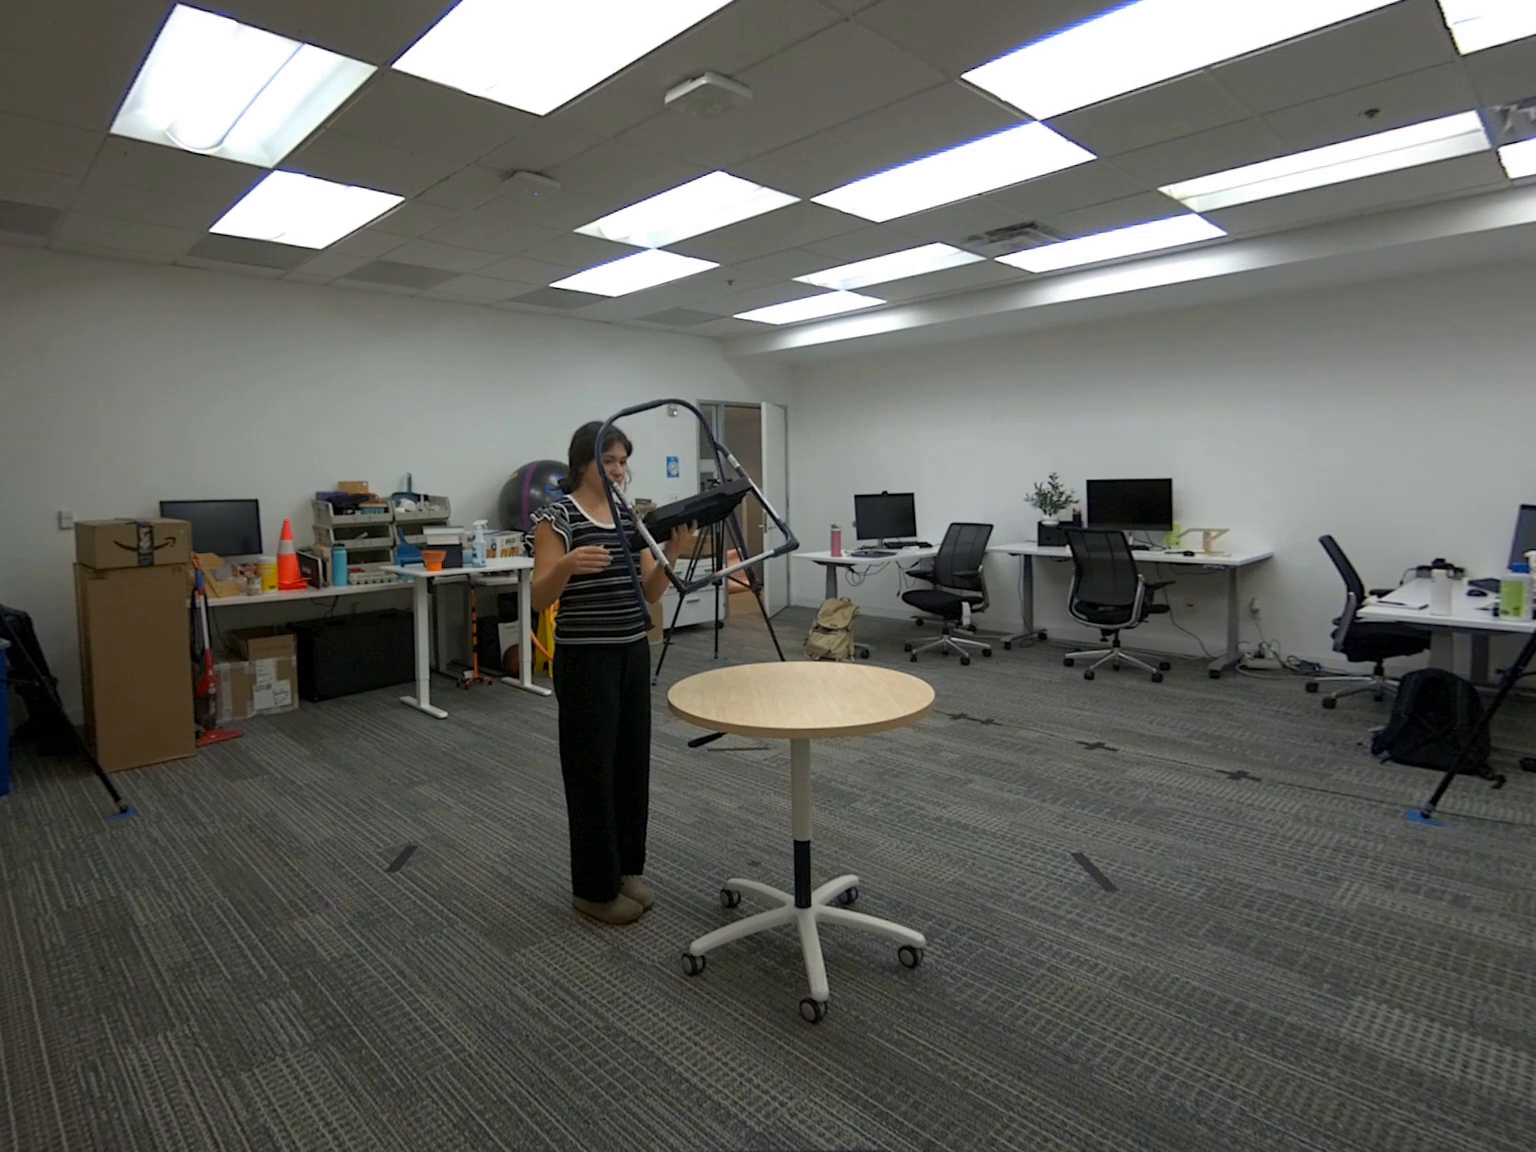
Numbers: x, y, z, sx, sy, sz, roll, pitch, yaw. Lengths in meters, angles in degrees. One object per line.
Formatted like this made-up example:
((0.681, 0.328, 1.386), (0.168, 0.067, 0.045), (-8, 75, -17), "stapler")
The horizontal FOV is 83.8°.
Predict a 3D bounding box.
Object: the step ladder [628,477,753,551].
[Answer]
((-0.265, -0.231, 2.582), (0.424, 0.614, 0.350), (-22, -11, -31), "step ladder")
